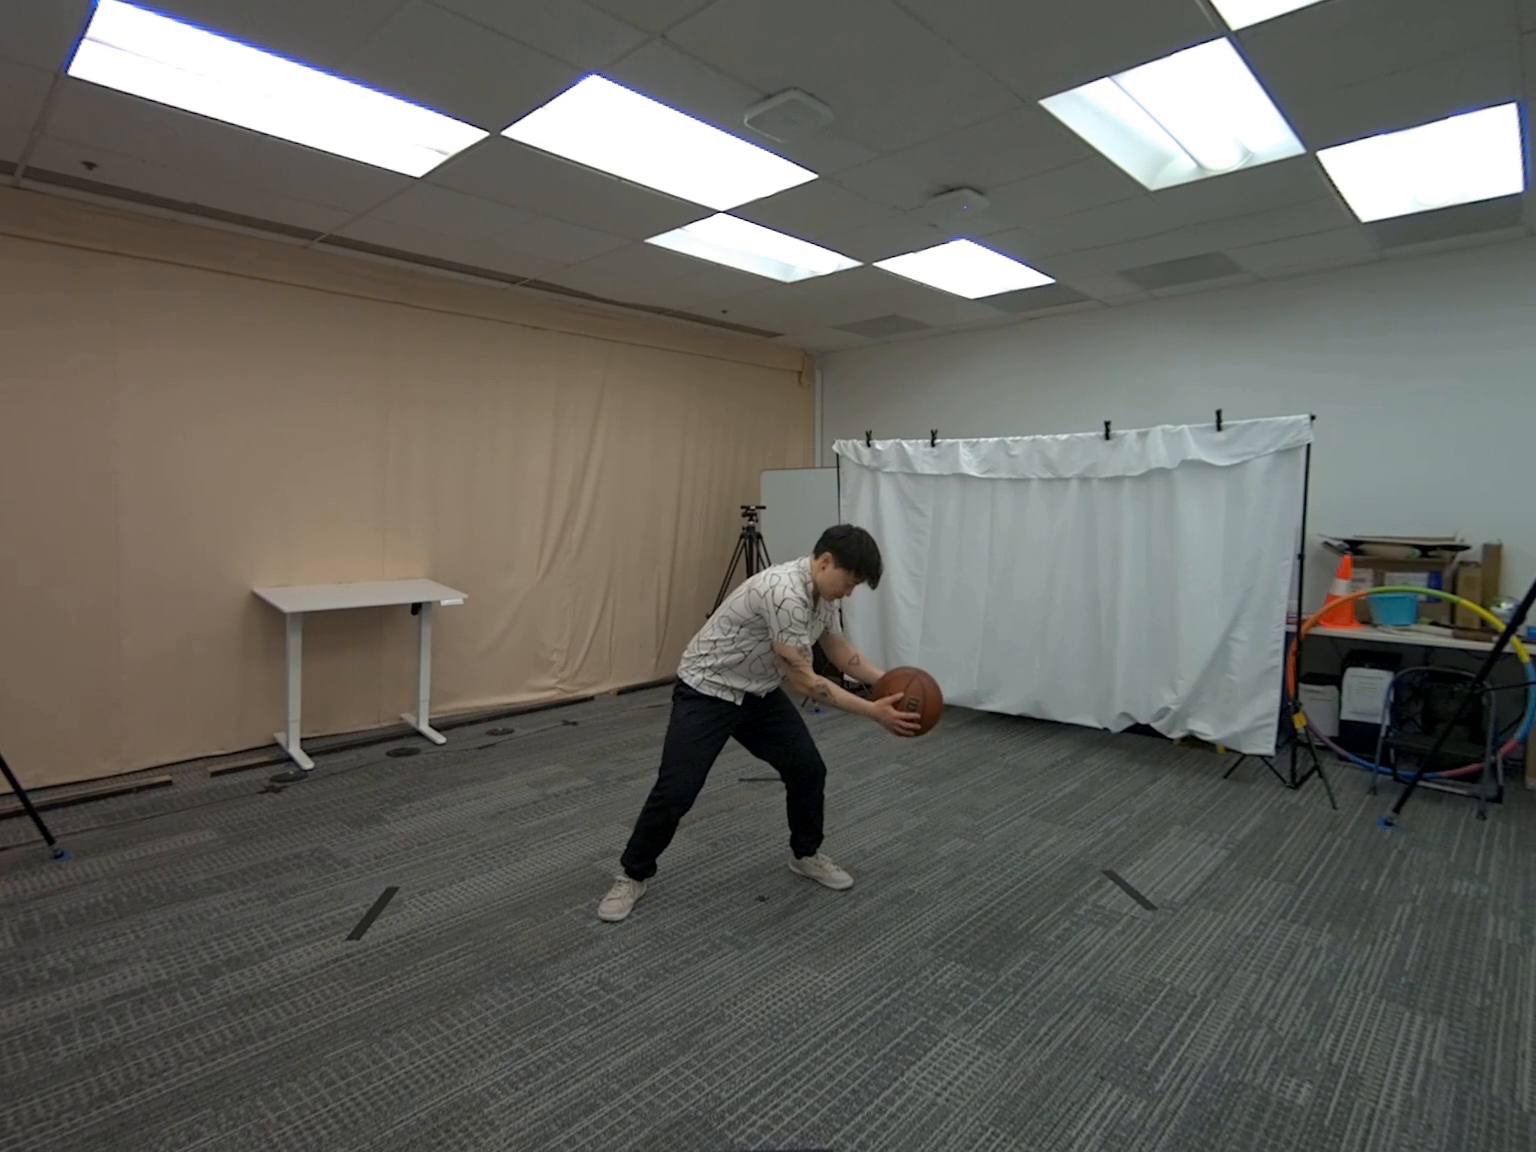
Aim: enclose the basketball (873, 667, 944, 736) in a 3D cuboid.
[{"bbox_3d":[0.476,0.431,2.873,0.236,0.235,0.237,0,4,-2],"label":"basketball"}]
